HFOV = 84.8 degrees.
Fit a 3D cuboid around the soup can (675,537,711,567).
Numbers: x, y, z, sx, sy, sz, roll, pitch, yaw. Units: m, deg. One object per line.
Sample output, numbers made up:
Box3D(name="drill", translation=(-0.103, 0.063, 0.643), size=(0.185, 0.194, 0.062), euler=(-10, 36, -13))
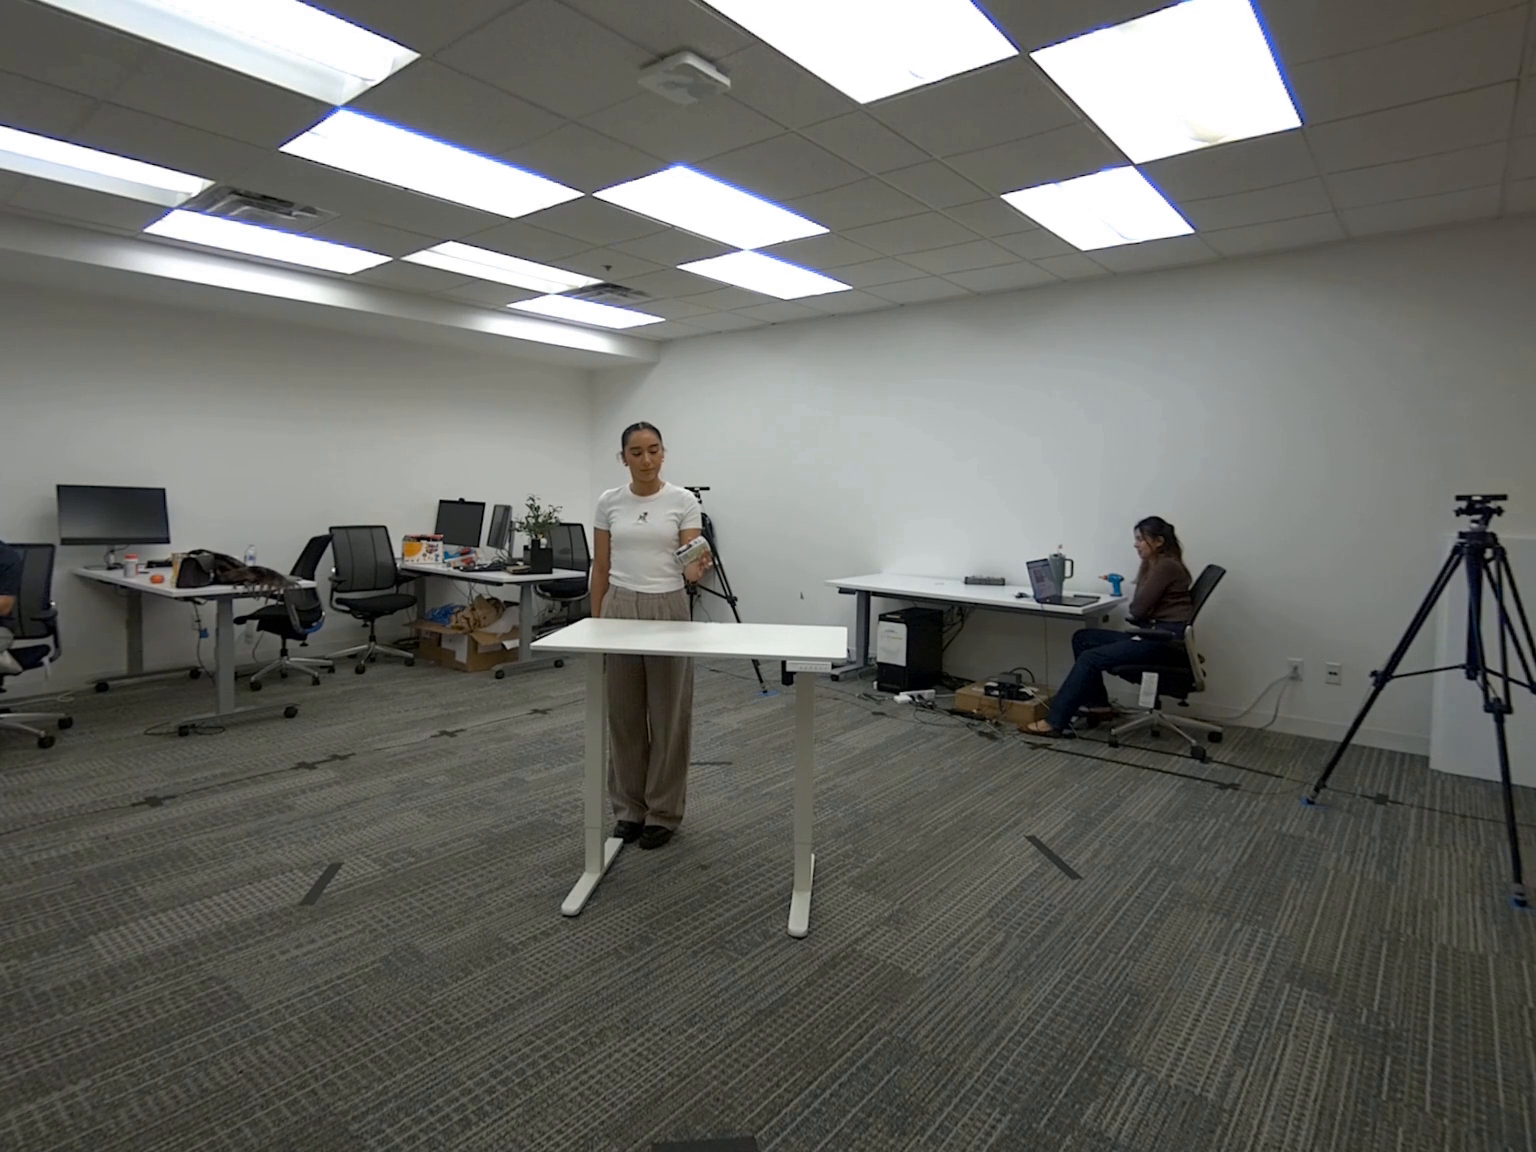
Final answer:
Box3D(name="soup can", translation=(-0.282, -0.095, 2.971), size=(0.121, 0.066, 0.068), euler=(-29, 10, -9))
